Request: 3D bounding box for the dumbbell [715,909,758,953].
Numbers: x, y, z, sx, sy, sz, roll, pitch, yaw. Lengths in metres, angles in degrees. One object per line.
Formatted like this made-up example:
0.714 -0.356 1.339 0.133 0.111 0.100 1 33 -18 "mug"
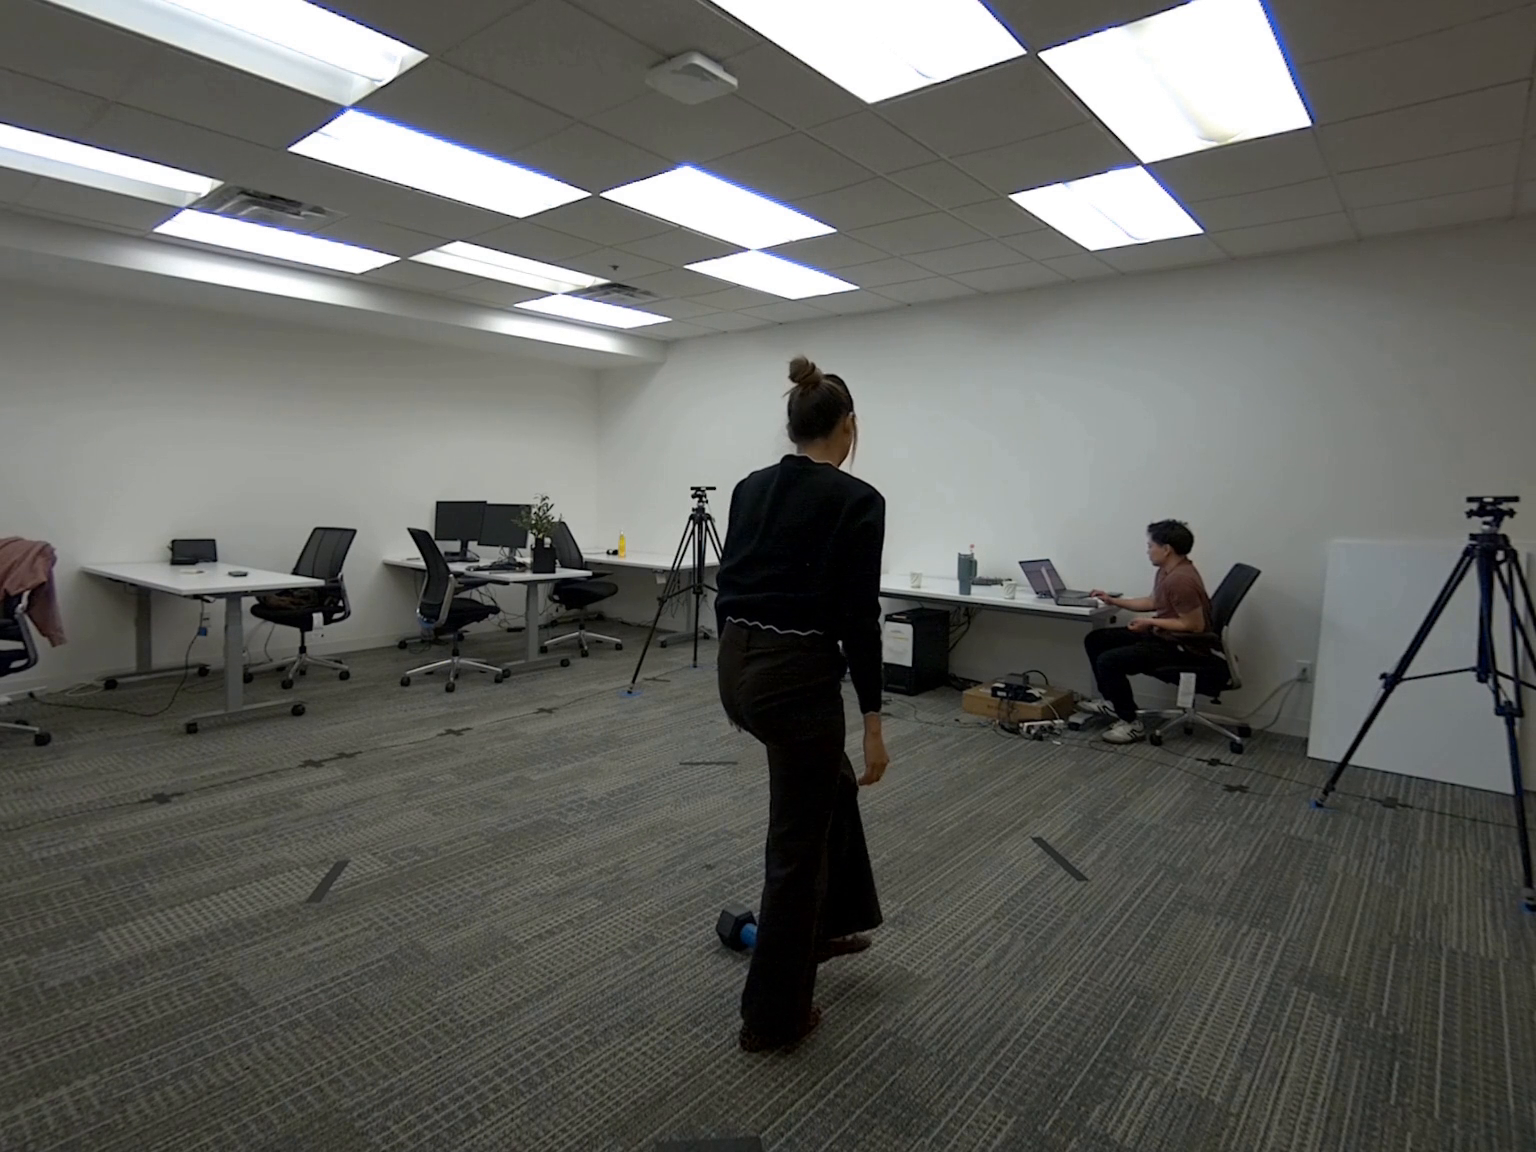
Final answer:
-0.029 1.074 2.505 0.304 0.119 0.108 8 37 47 "dumbbell"
